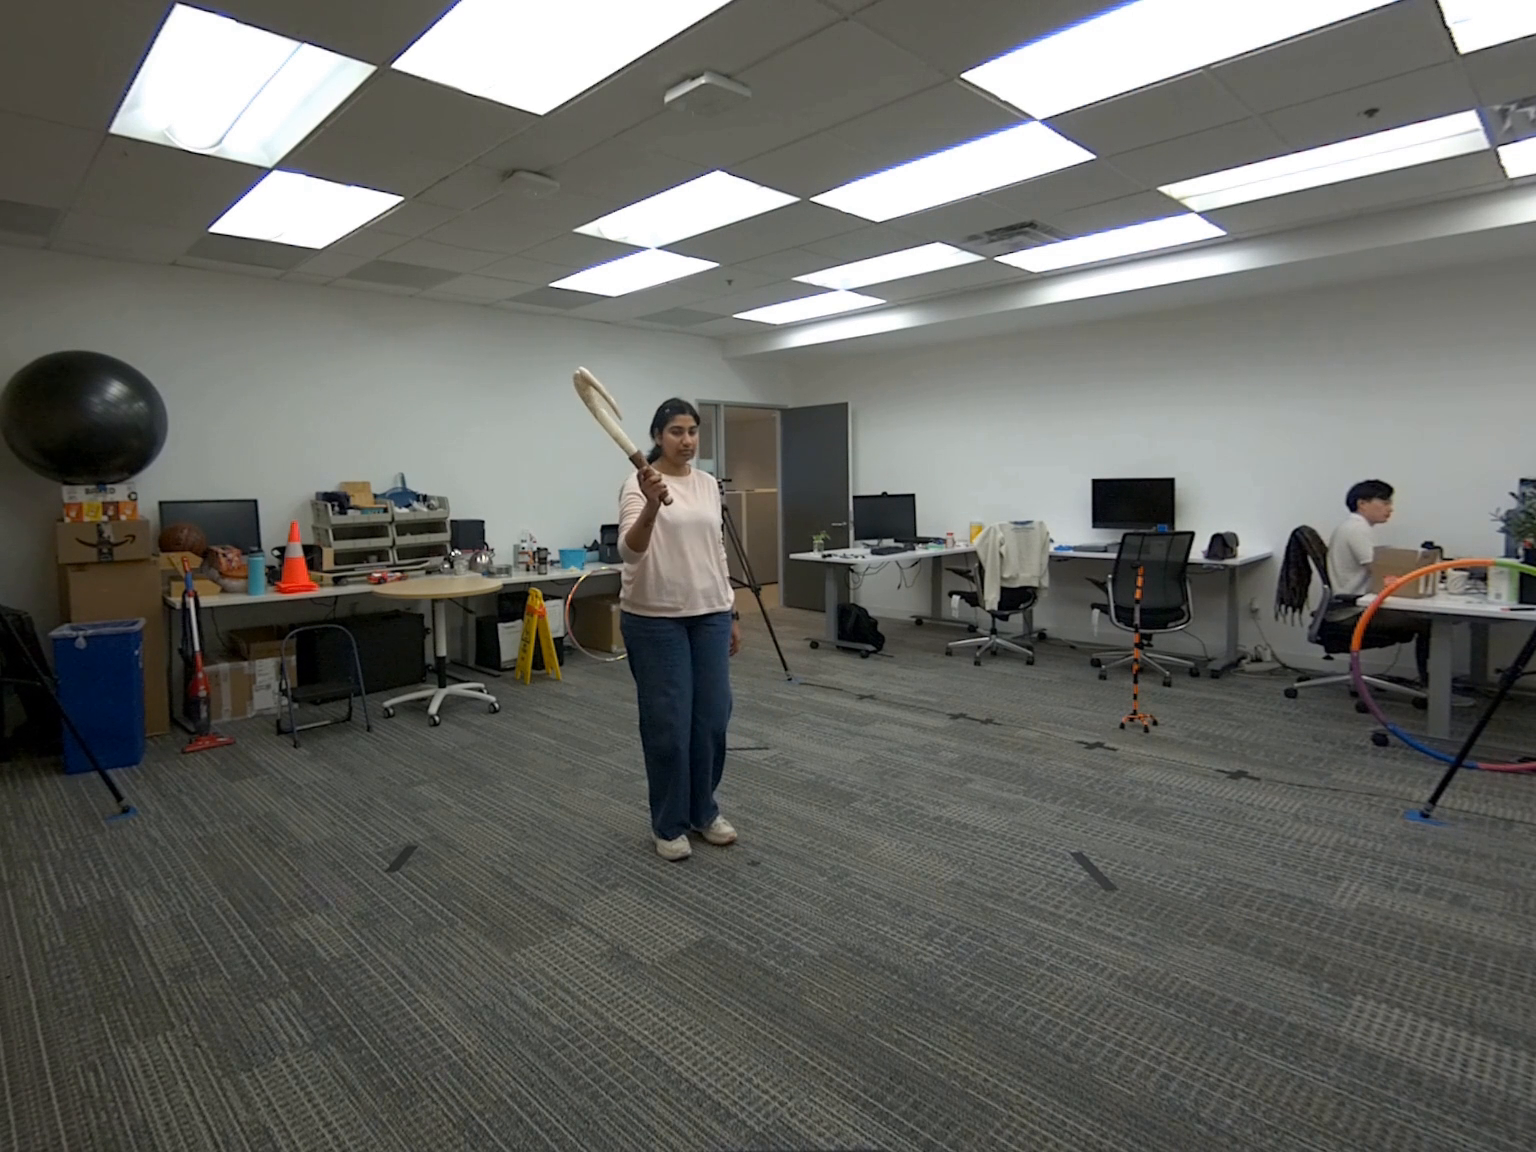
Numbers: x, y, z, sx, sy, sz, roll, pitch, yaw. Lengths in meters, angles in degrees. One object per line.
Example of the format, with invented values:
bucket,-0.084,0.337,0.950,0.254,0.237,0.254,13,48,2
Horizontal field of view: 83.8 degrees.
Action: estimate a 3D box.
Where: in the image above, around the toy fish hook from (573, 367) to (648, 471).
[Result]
toy fish hook,-0.440,-0.417,2.643,0.048,0.498,0.229,-37,14,-13
